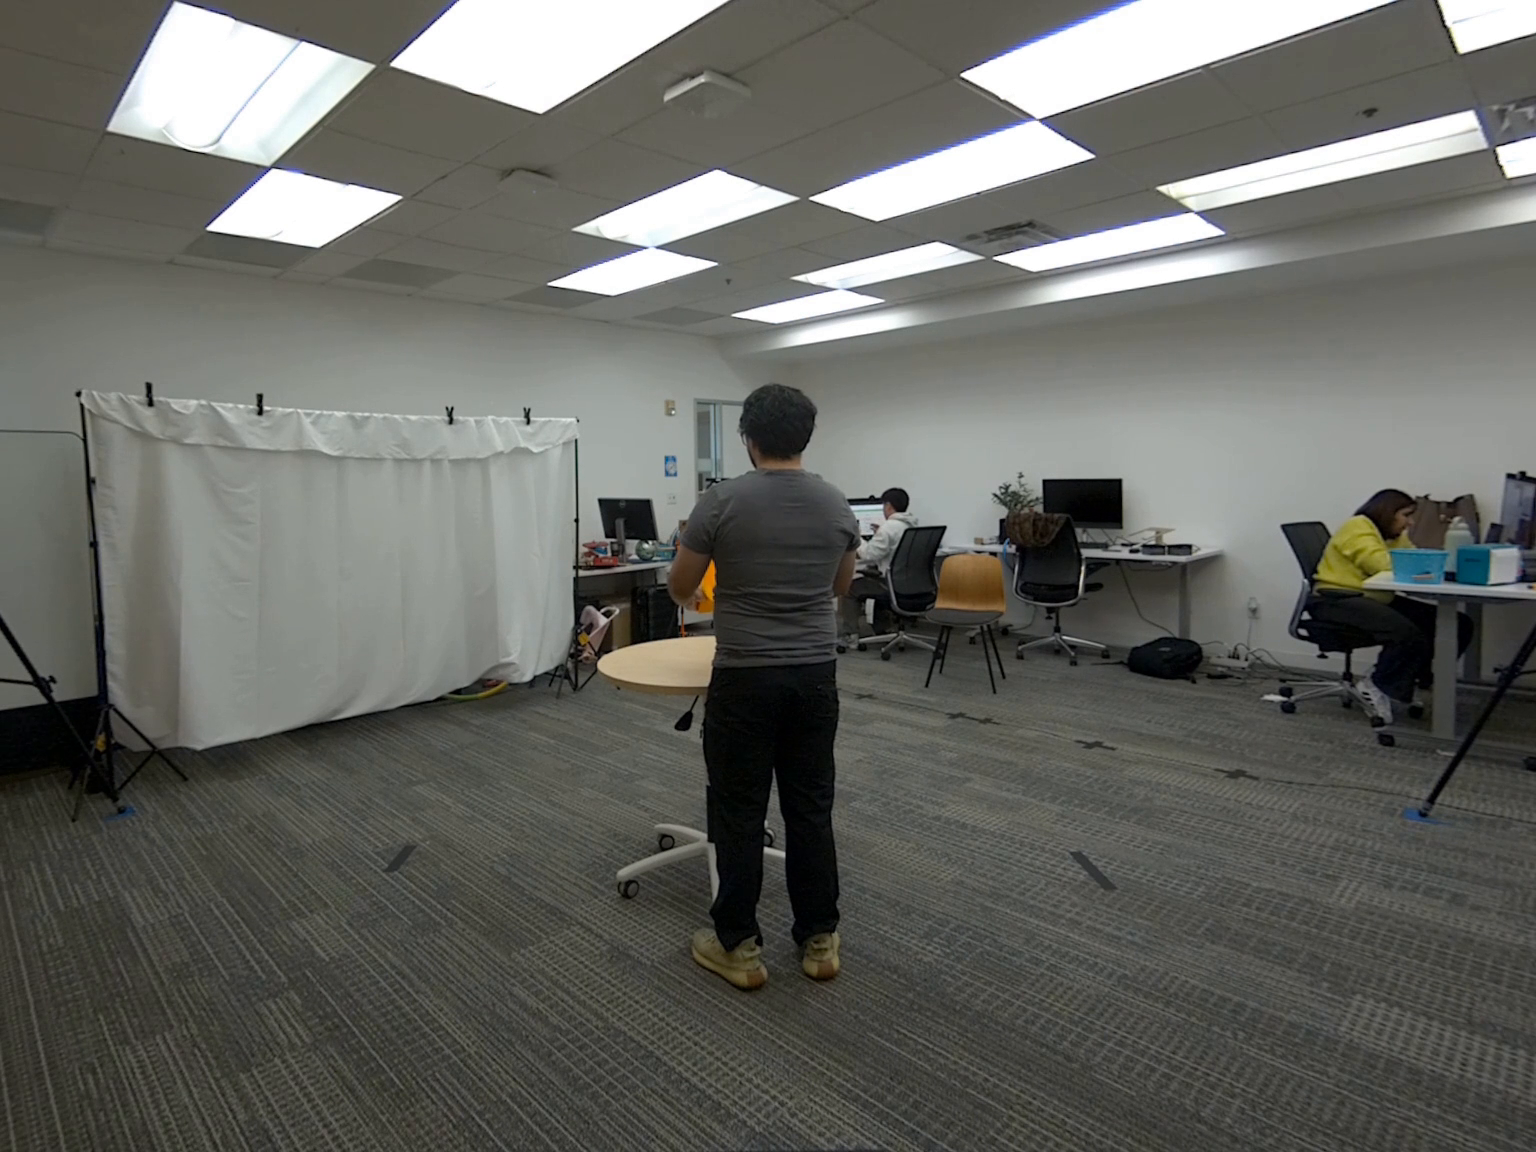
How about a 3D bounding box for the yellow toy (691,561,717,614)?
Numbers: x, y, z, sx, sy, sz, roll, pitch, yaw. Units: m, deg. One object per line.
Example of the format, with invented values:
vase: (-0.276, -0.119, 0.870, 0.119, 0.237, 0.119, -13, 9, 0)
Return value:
yellow toy: (-0.150, 0.023, 2.815, 0.201, 0.194, 0.234, -7, -4, -23)
